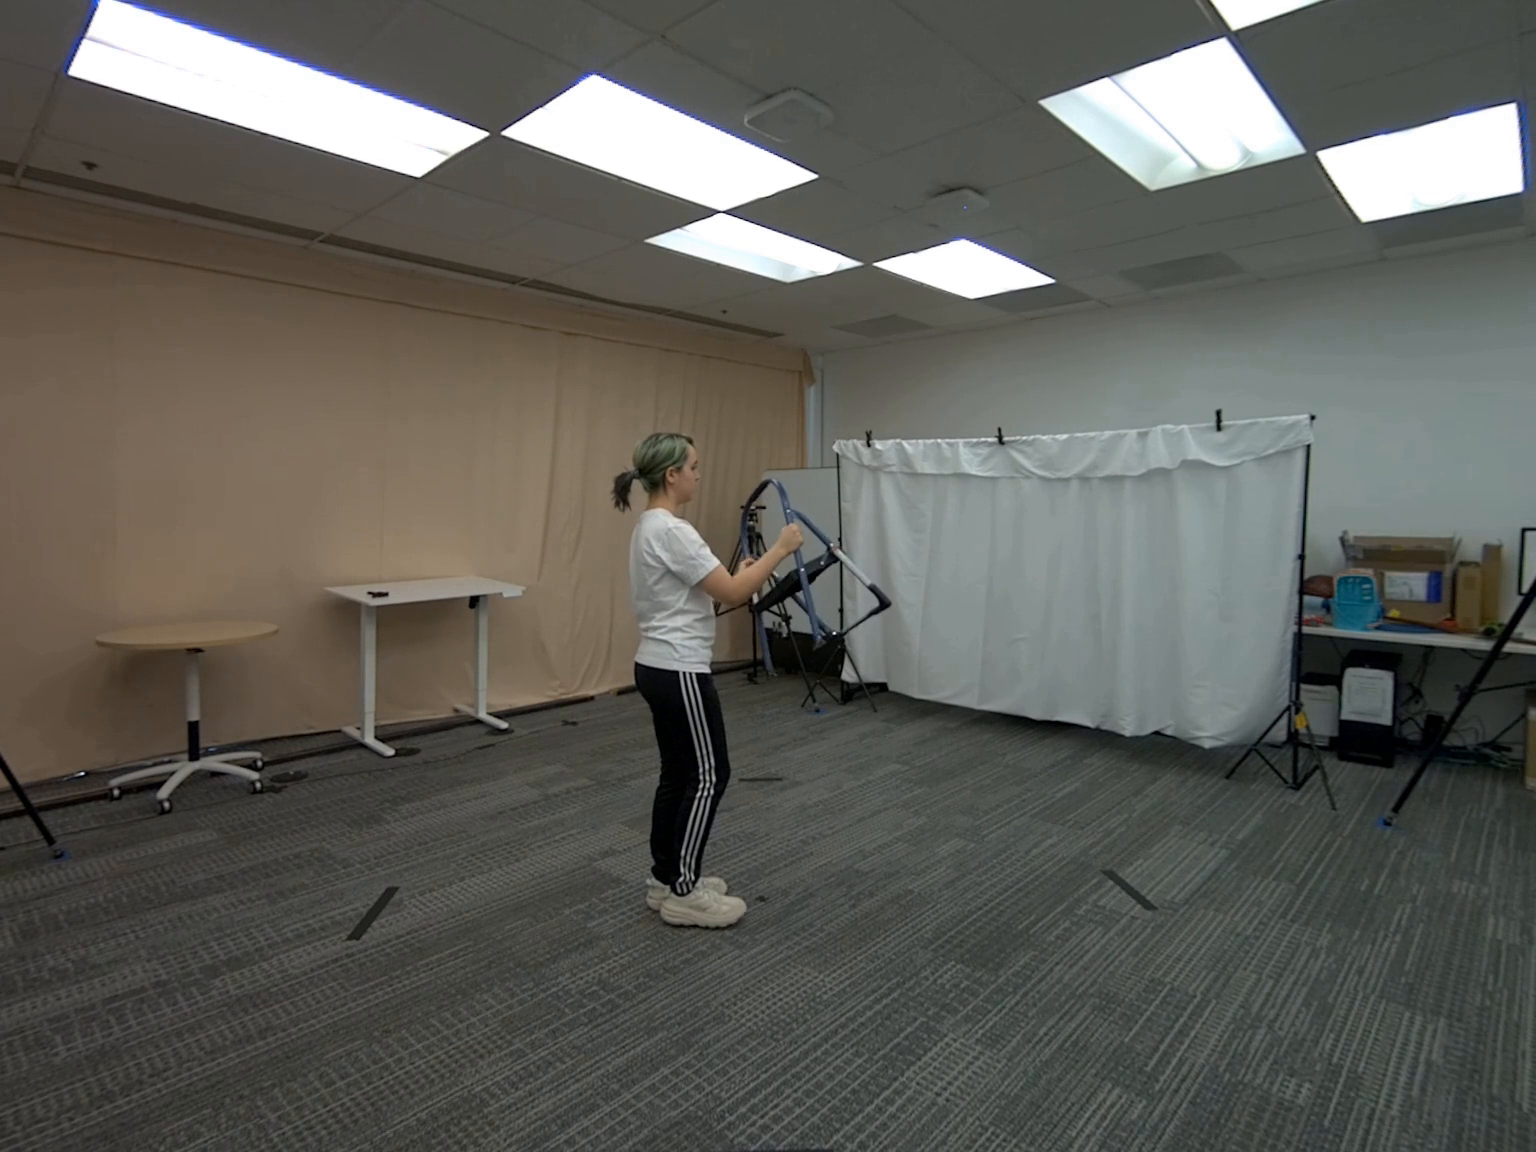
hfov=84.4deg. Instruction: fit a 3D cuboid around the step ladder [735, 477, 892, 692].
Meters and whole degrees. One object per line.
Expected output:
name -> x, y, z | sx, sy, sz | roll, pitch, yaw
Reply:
step ladder -> 0.058, -0.023, 2.951 | 0.342, 0.613, 0.434 | -24, -12, -31
